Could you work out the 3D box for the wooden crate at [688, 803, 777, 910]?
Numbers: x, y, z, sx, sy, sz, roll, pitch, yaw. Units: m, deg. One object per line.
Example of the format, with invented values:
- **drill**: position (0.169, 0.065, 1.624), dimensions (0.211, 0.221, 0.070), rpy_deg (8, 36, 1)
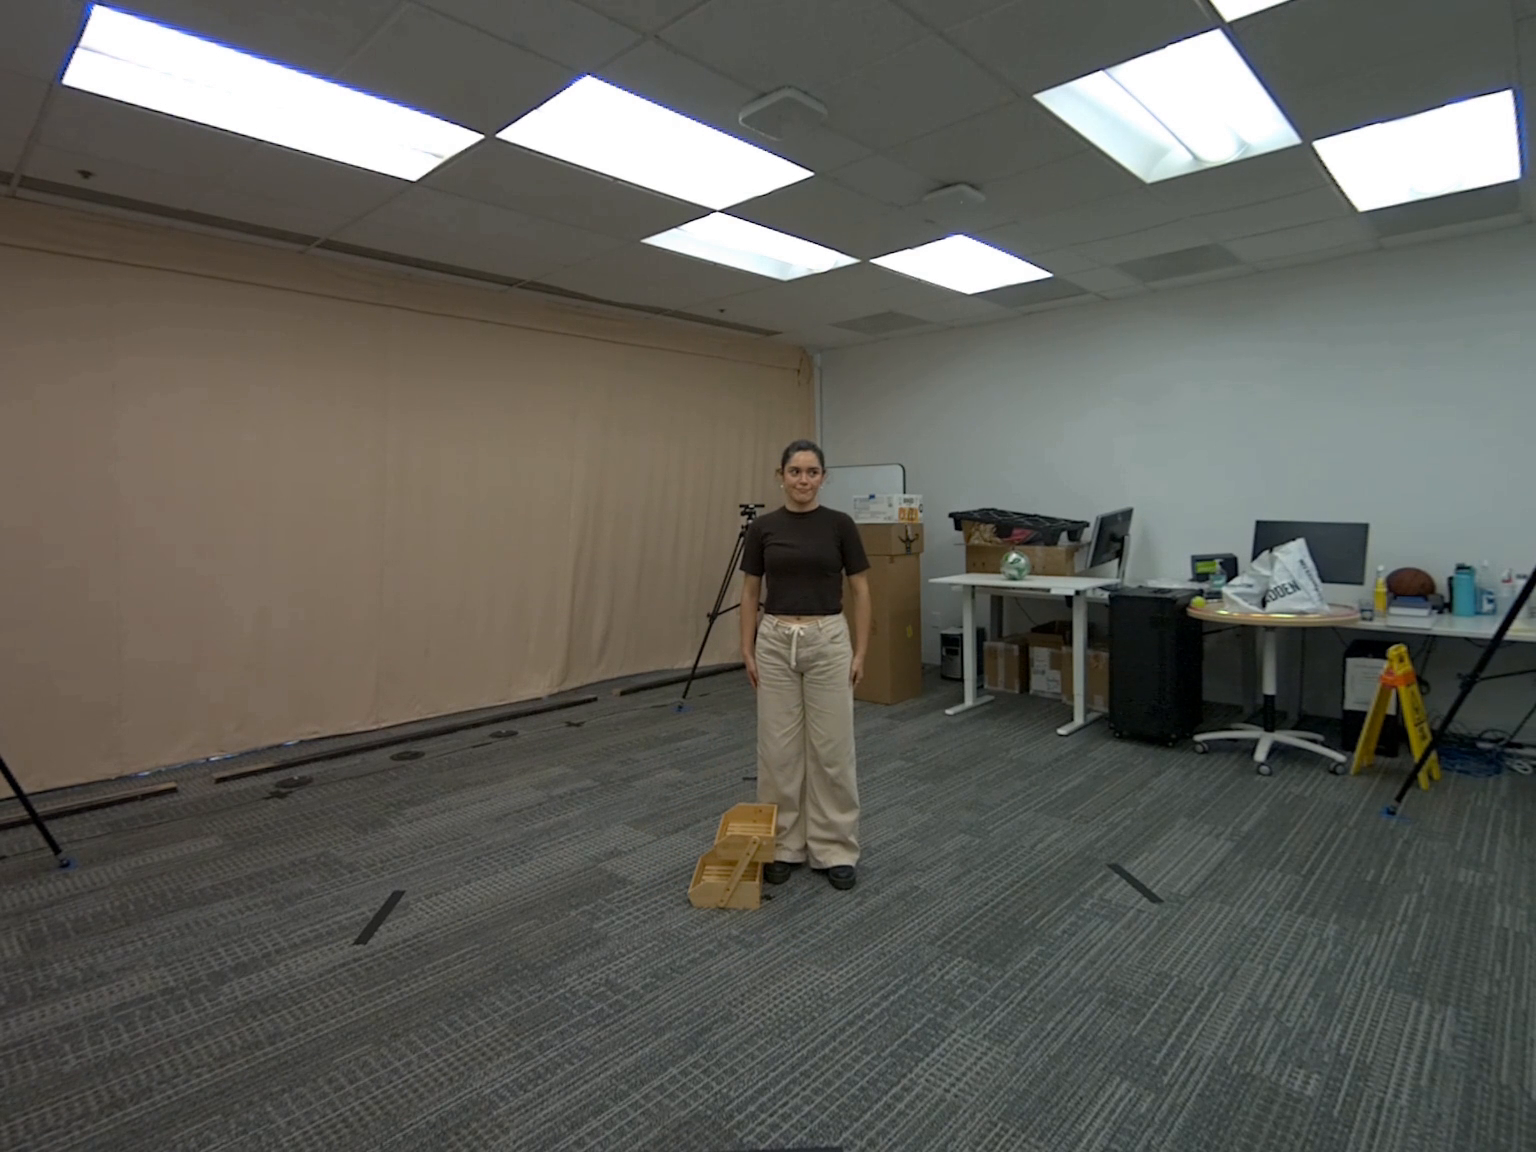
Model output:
- **wooden crate**: position (-0.126, 1.004, 3.045), dimensions (0.304, 0.273, 0.323), rpy_deg (1, 4, 5)
